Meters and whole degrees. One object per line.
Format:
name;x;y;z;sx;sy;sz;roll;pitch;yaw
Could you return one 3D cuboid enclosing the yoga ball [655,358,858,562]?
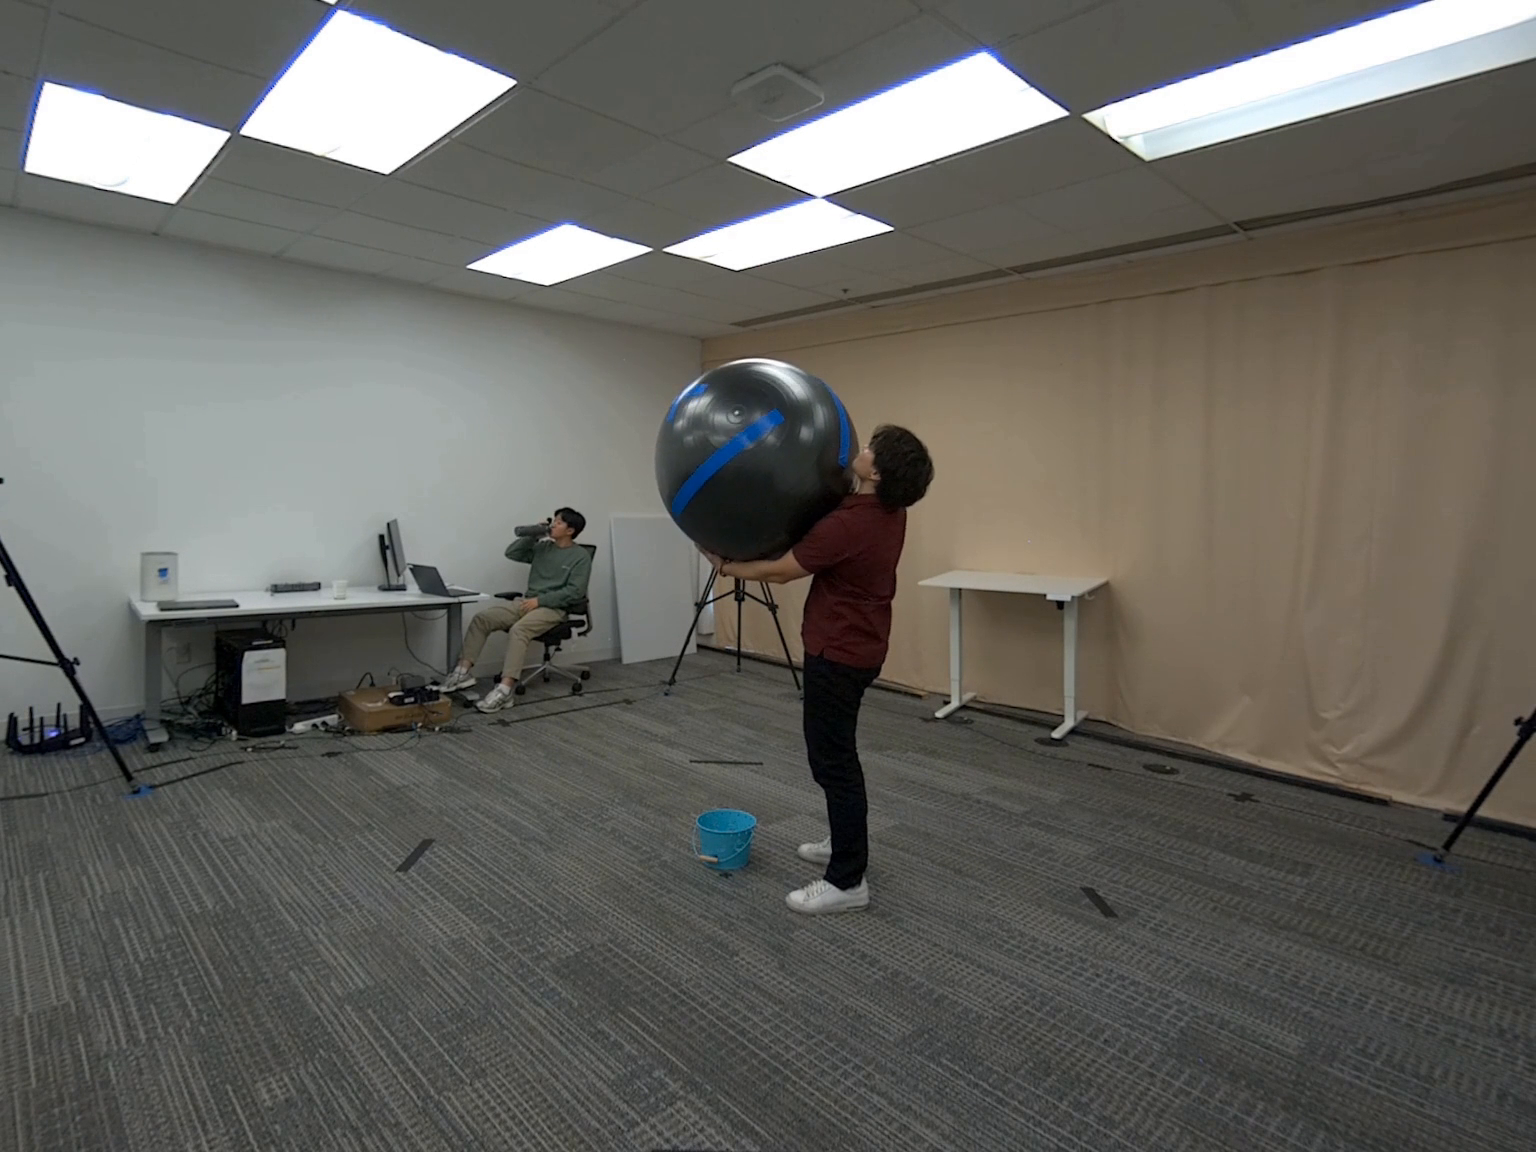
yoga ball;-0.047;-0.412;3.127;0.757;0.756;0.761;1;4;-1
